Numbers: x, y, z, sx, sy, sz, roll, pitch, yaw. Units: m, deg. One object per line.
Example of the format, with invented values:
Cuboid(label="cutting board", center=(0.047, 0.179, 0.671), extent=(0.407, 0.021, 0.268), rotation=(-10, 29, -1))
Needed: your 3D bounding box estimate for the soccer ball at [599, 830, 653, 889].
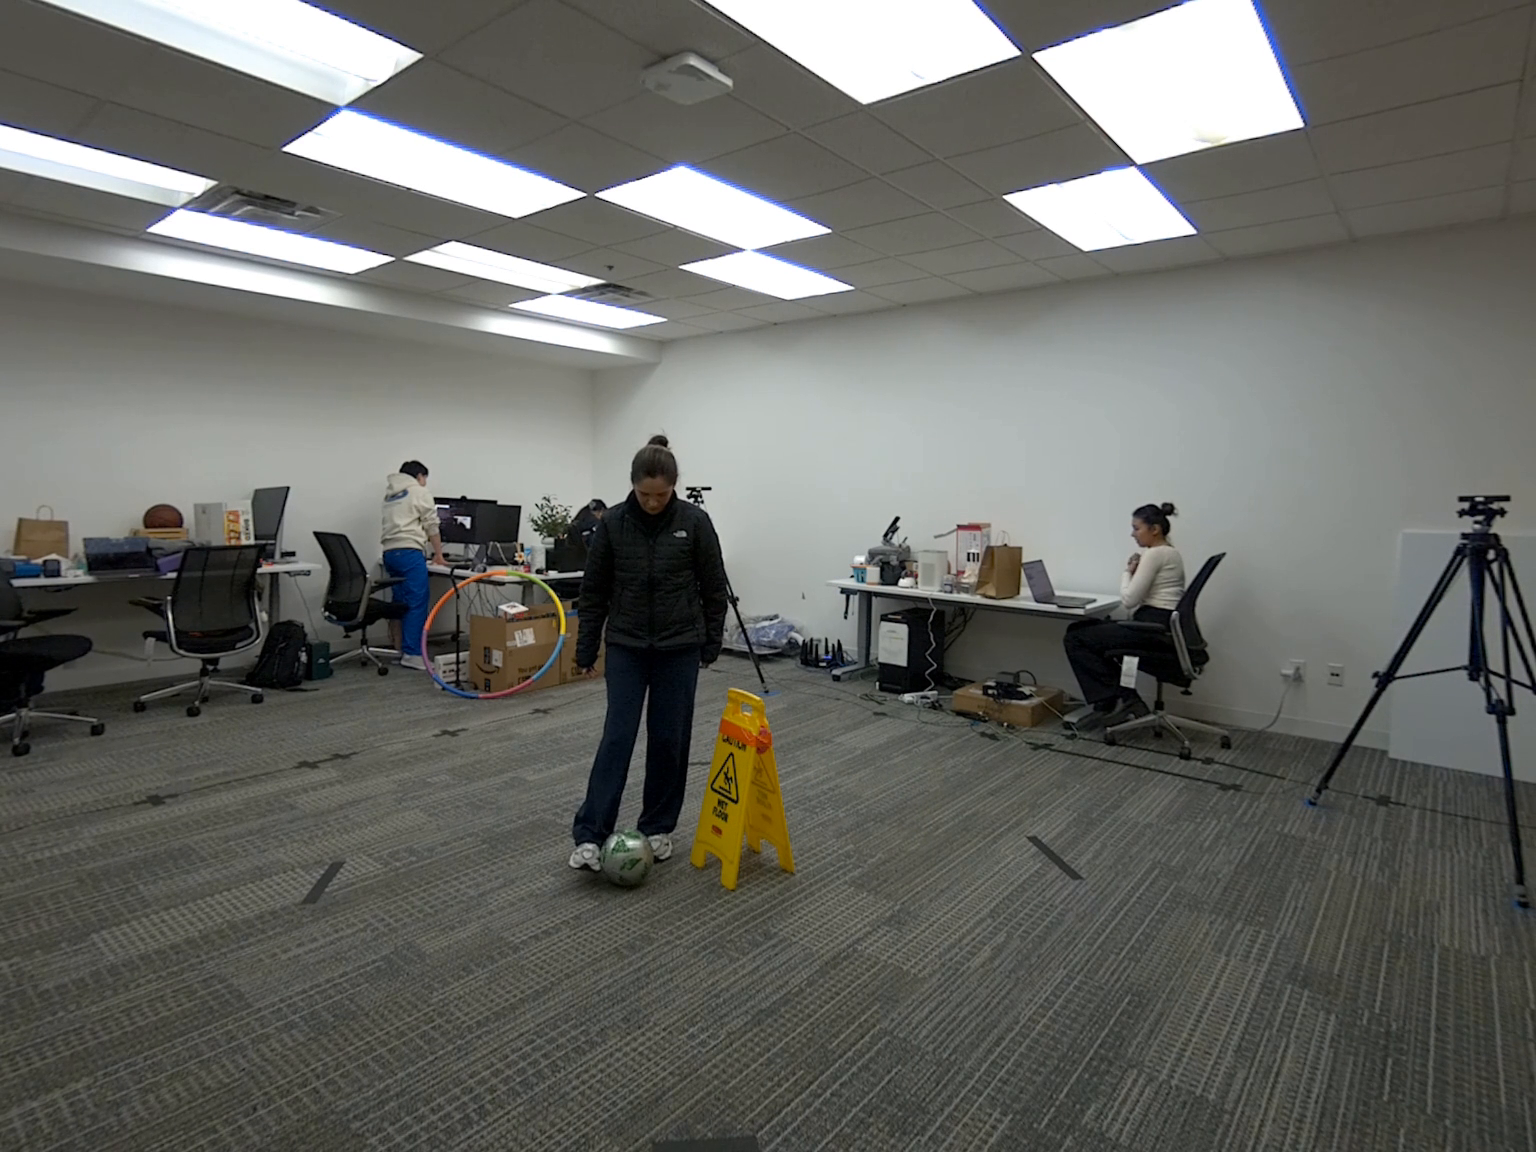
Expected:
Cuboid(label="soccer ball", center=(-0.501, 0.990, 2.984), extent=(0.187, 0.187, 0.188), rotation=(1, 4, -2))
